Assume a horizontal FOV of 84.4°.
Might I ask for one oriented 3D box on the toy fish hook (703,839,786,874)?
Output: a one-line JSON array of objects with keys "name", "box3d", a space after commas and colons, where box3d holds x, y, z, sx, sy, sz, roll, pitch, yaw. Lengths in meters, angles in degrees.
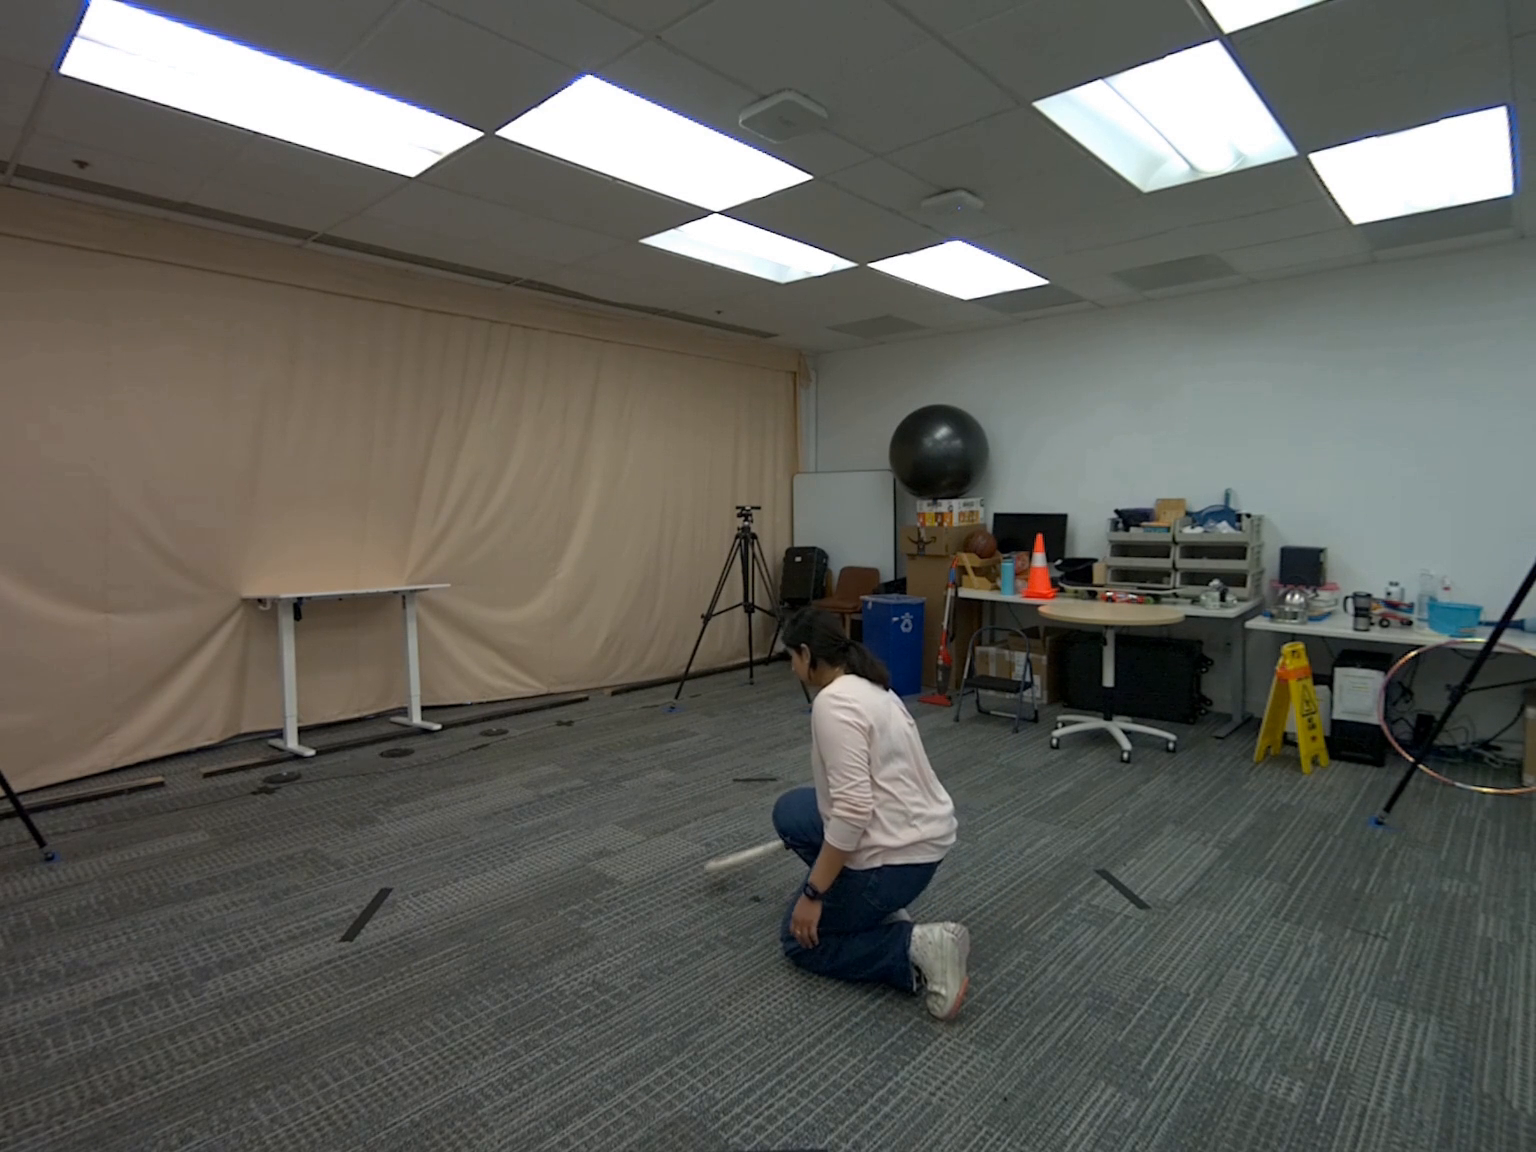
[{"name": "toy fish hook", "box3d": [0.004, 0.972, 3.056, 0.507, 0.049, 0.222, -17, -9, 2]}]
